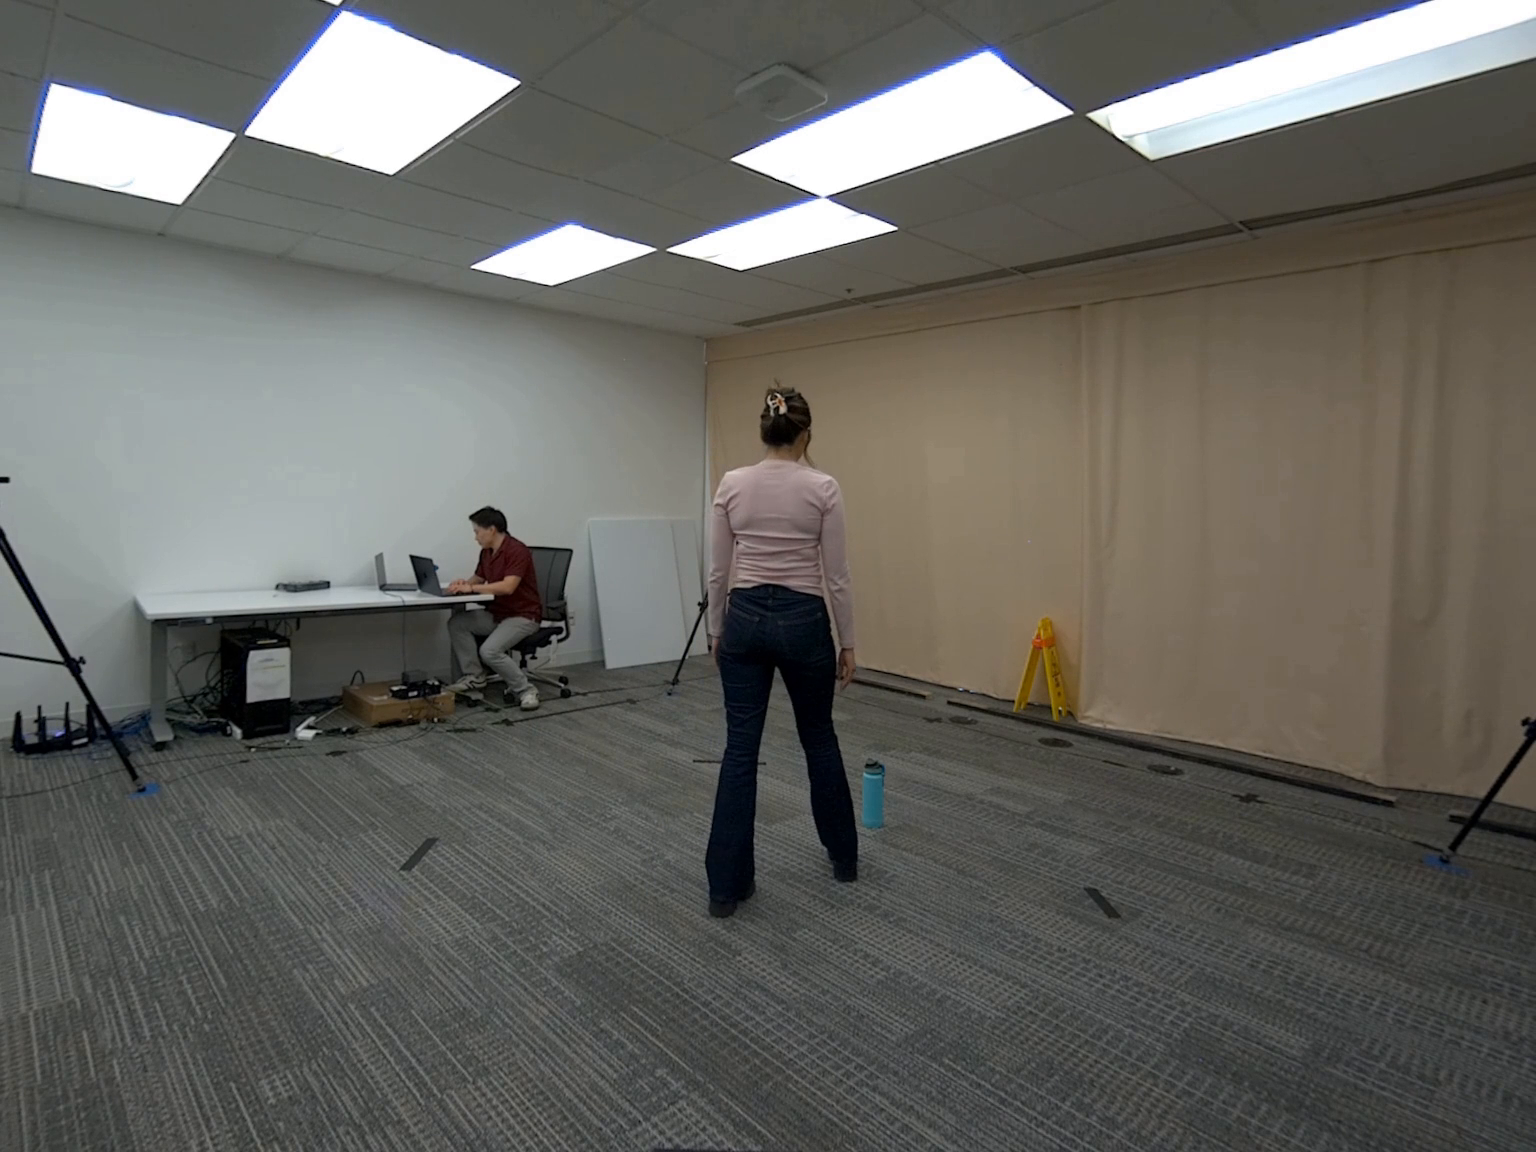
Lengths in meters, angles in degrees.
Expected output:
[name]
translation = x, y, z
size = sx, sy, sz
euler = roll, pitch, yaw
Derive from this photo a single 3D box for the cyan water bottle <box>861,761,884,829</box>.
[cyan water bottle]
translation = 0.447, 0.932, 3.629
size = 0.092, 0.283, 0.092
euler = 2, 1, -1
